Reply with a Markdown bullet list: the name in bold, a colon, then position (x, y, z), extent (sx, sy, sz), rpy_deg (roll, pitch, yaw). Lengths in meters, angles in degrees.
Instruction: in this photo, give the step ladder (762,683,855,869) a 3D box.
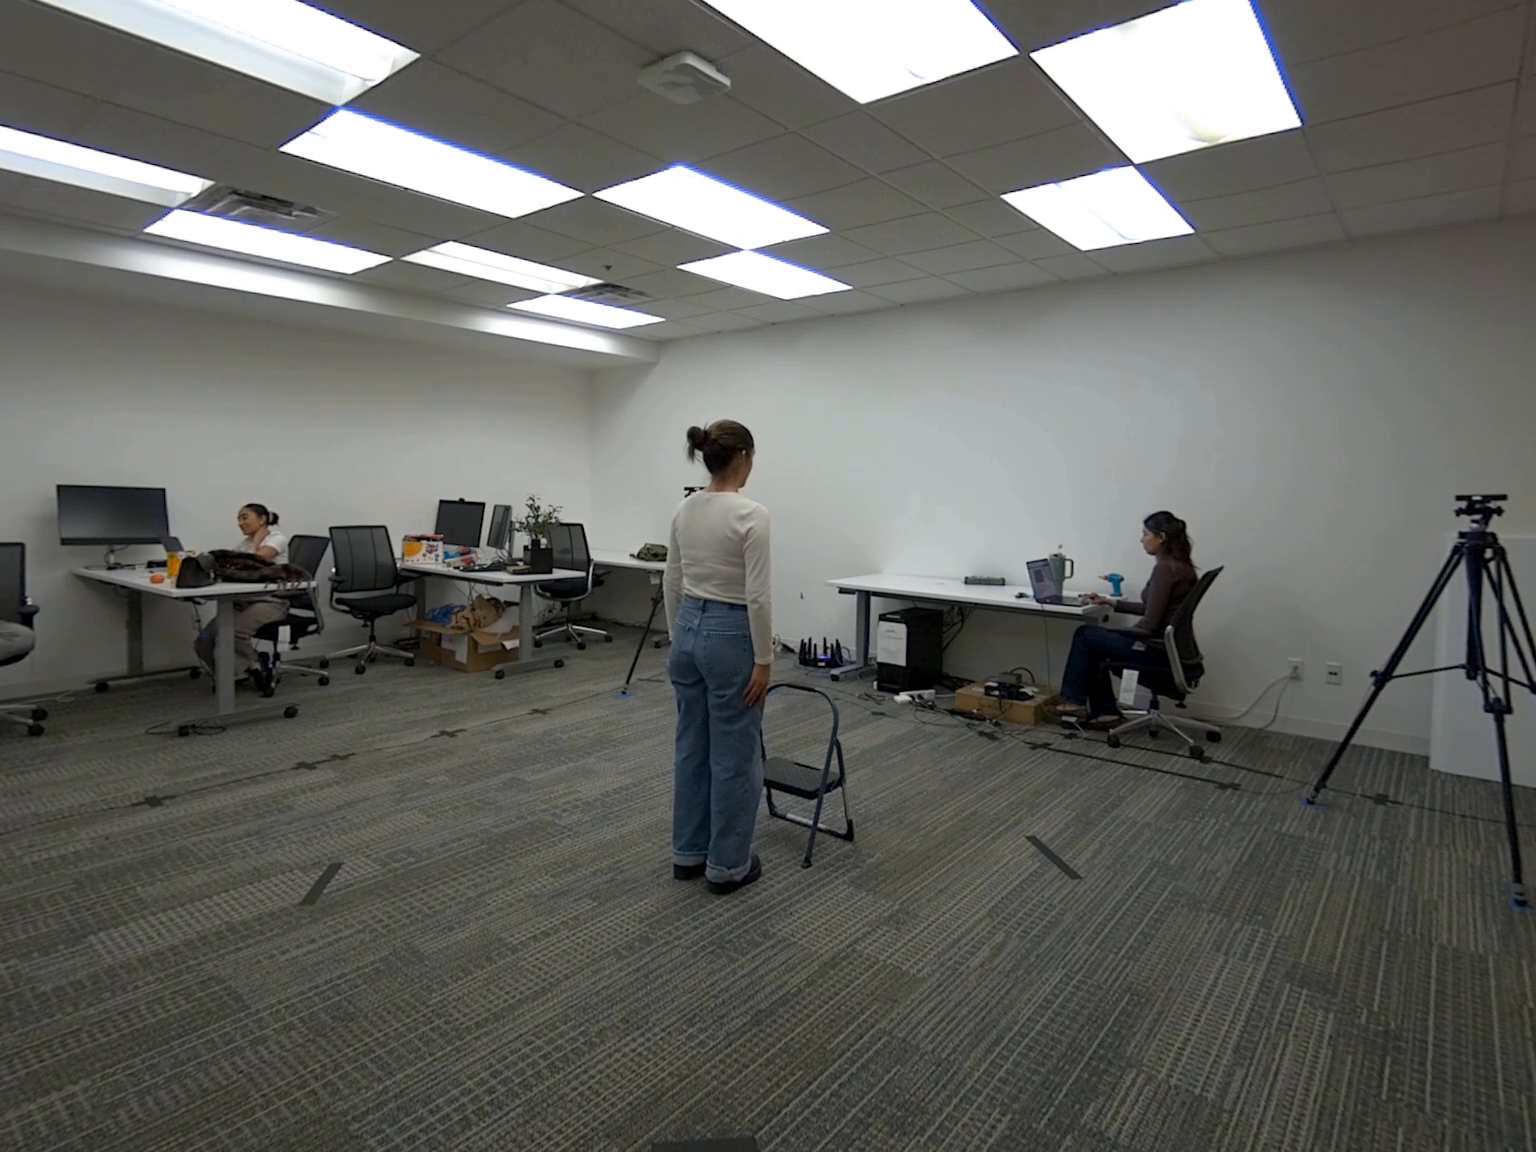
- **step ladder**: position (0.076, 0.738, 3.372), extent (0.445, 0.604, 0.339), rpy_deg (4, 5, 38)
